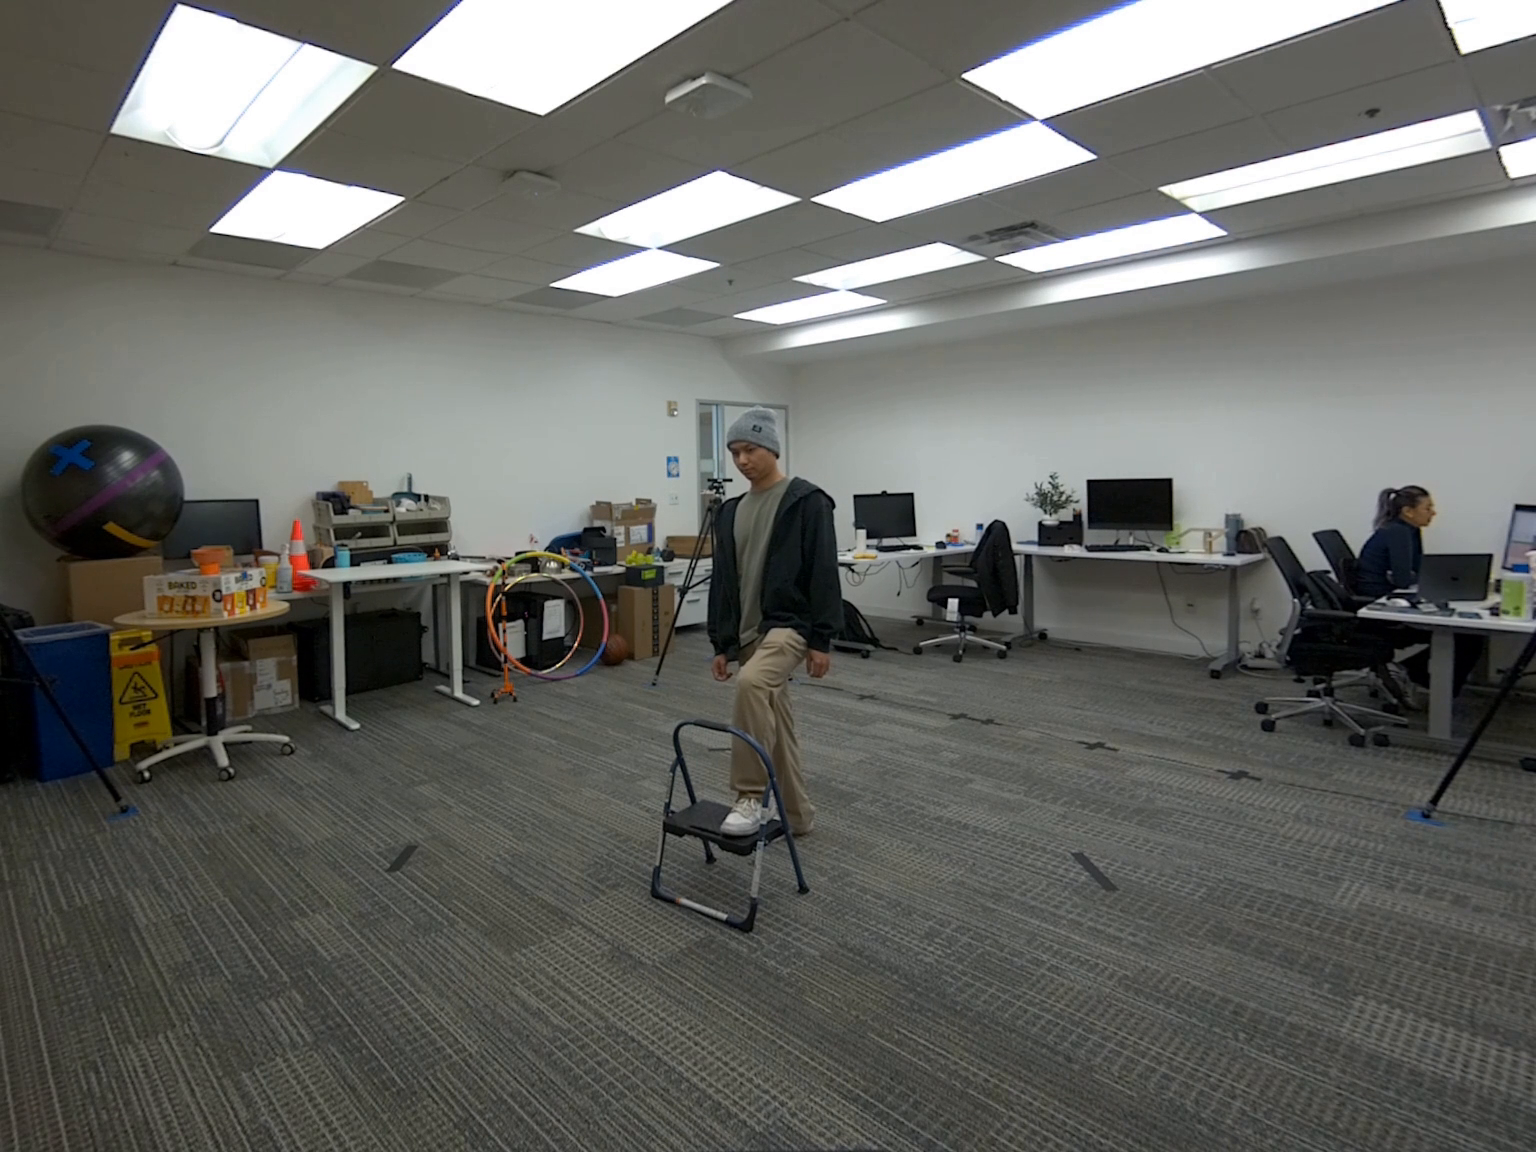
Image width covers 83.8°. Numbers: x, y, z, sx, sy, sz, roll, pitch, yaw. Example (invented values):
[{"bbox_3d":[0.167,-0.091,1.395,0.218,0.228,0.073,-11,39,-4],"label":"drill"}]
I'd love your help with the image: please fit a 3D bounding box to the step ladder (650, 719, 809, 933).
[{"bbox_3d":[-0.137,0.773,2.865,0.443,0.603,0.341,3,6,35],"label":"step ladder"}]
